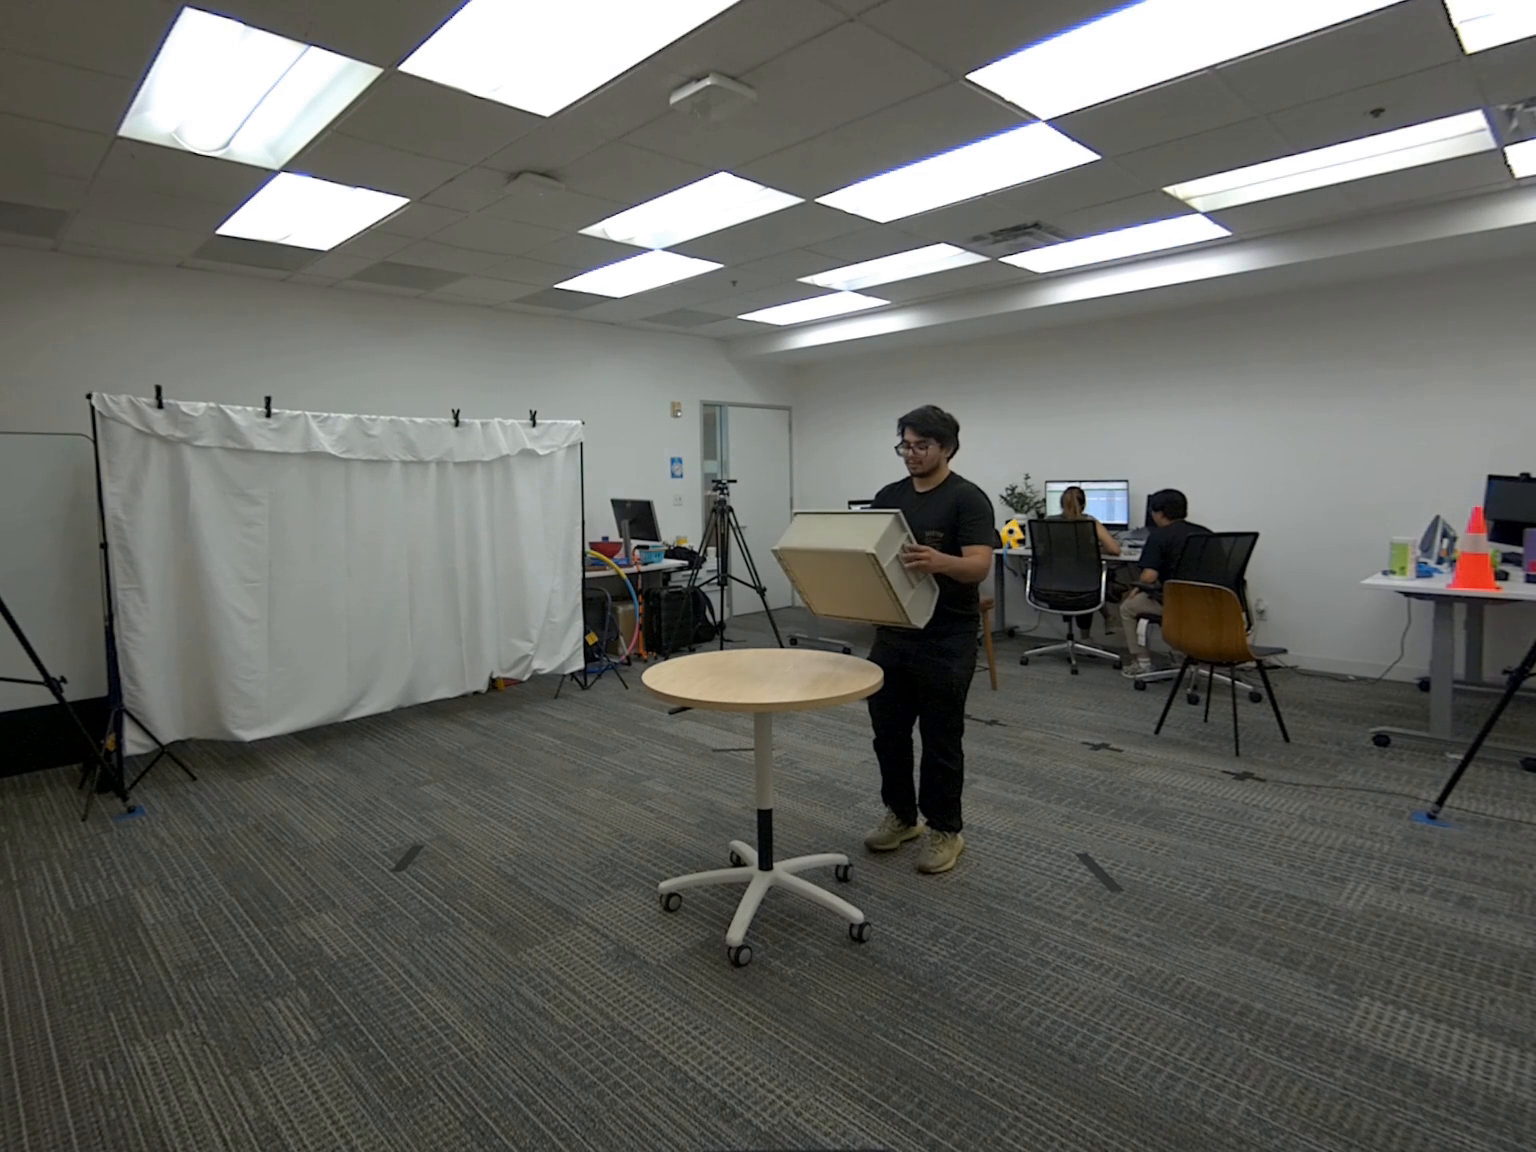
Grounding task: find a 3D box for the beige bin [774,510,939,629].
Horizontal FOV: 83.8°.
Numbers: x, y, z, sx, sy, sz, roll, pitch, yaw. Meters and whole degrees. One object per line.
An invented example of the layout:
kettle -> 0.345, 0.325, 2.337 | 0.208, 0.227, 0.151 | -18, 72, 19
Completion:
beige bin -> 0.287, -0.010, 2.769 | 0.435, 0.365, 0.190 | 3, 46, 44
